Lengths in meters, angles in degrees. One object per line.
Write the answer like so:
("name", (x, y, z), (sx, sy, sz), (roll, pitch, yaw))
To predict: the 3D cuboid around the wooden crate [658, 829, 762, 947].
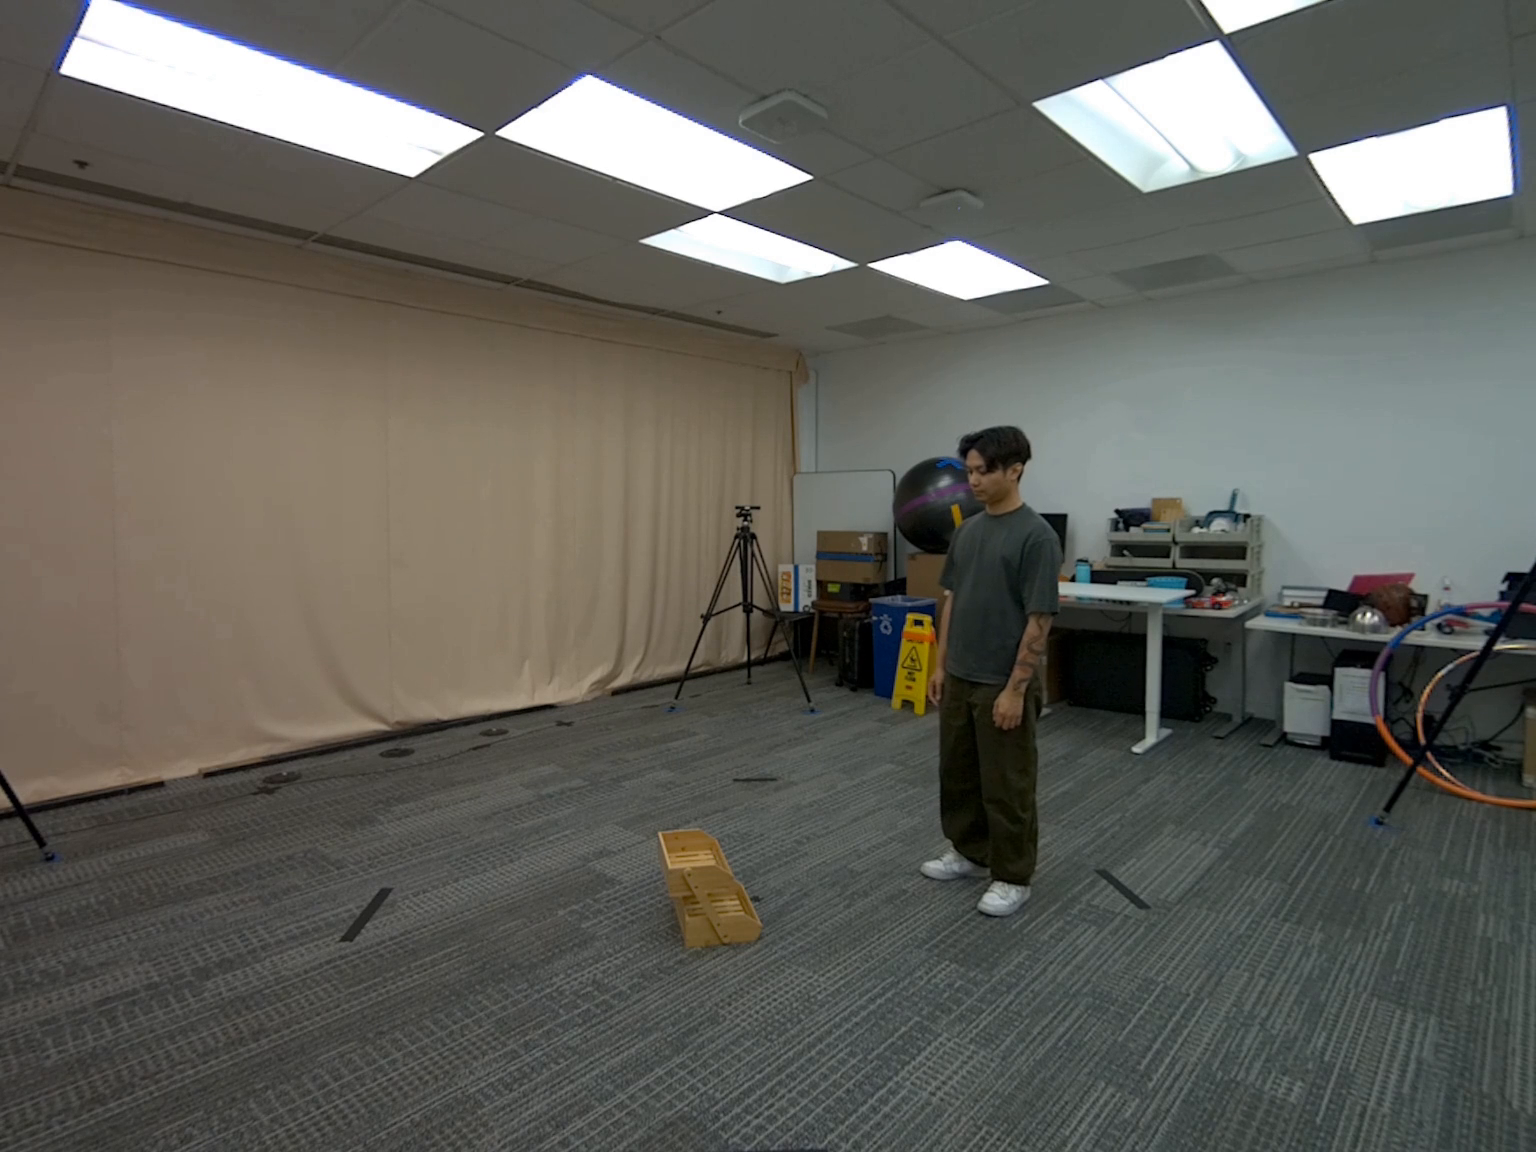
("wooden crate", (-0.194, 1.028, 2.815), (0.298, 0.273, 0.329), (-1, 4, -13))
